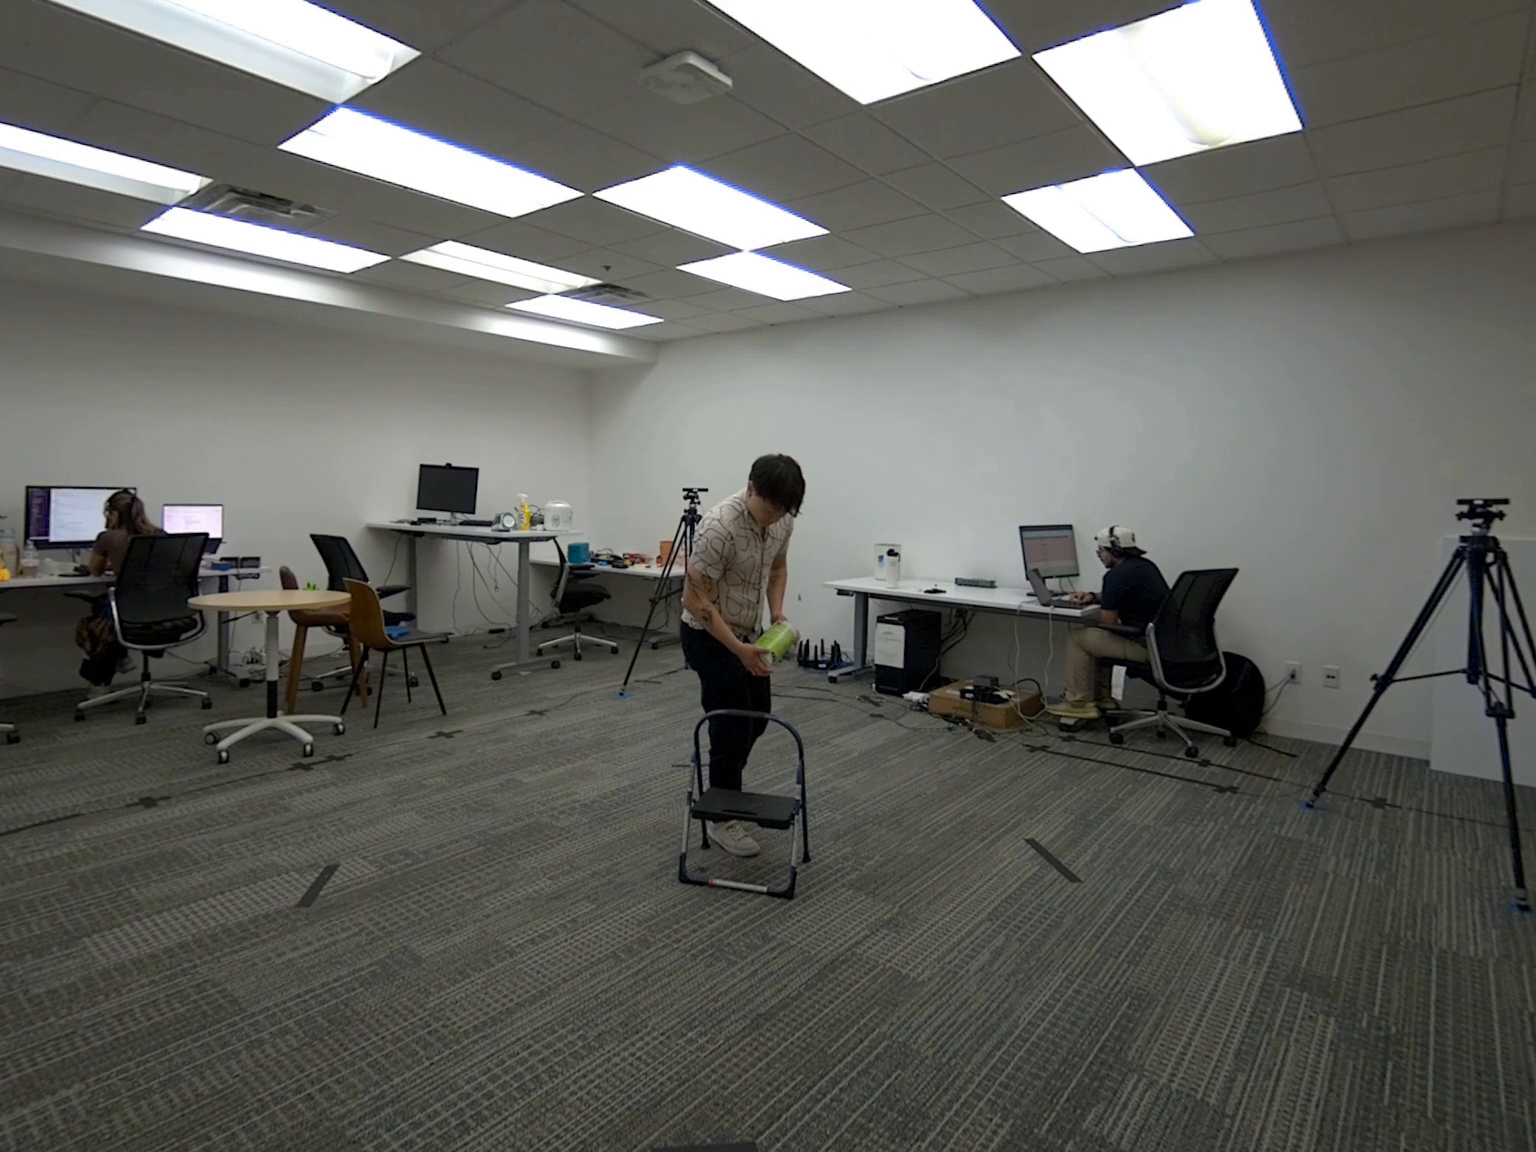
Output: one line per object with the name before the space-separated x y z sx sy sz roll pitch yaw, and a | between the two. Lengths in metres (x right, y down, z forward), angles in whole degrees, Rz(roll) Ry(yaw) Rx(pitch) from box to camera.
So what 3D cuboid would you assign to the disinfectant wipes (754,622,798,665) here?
disinfectant wipes | 0.003 0.268 3.236 0.121 0.115 0.216 4 31 37
